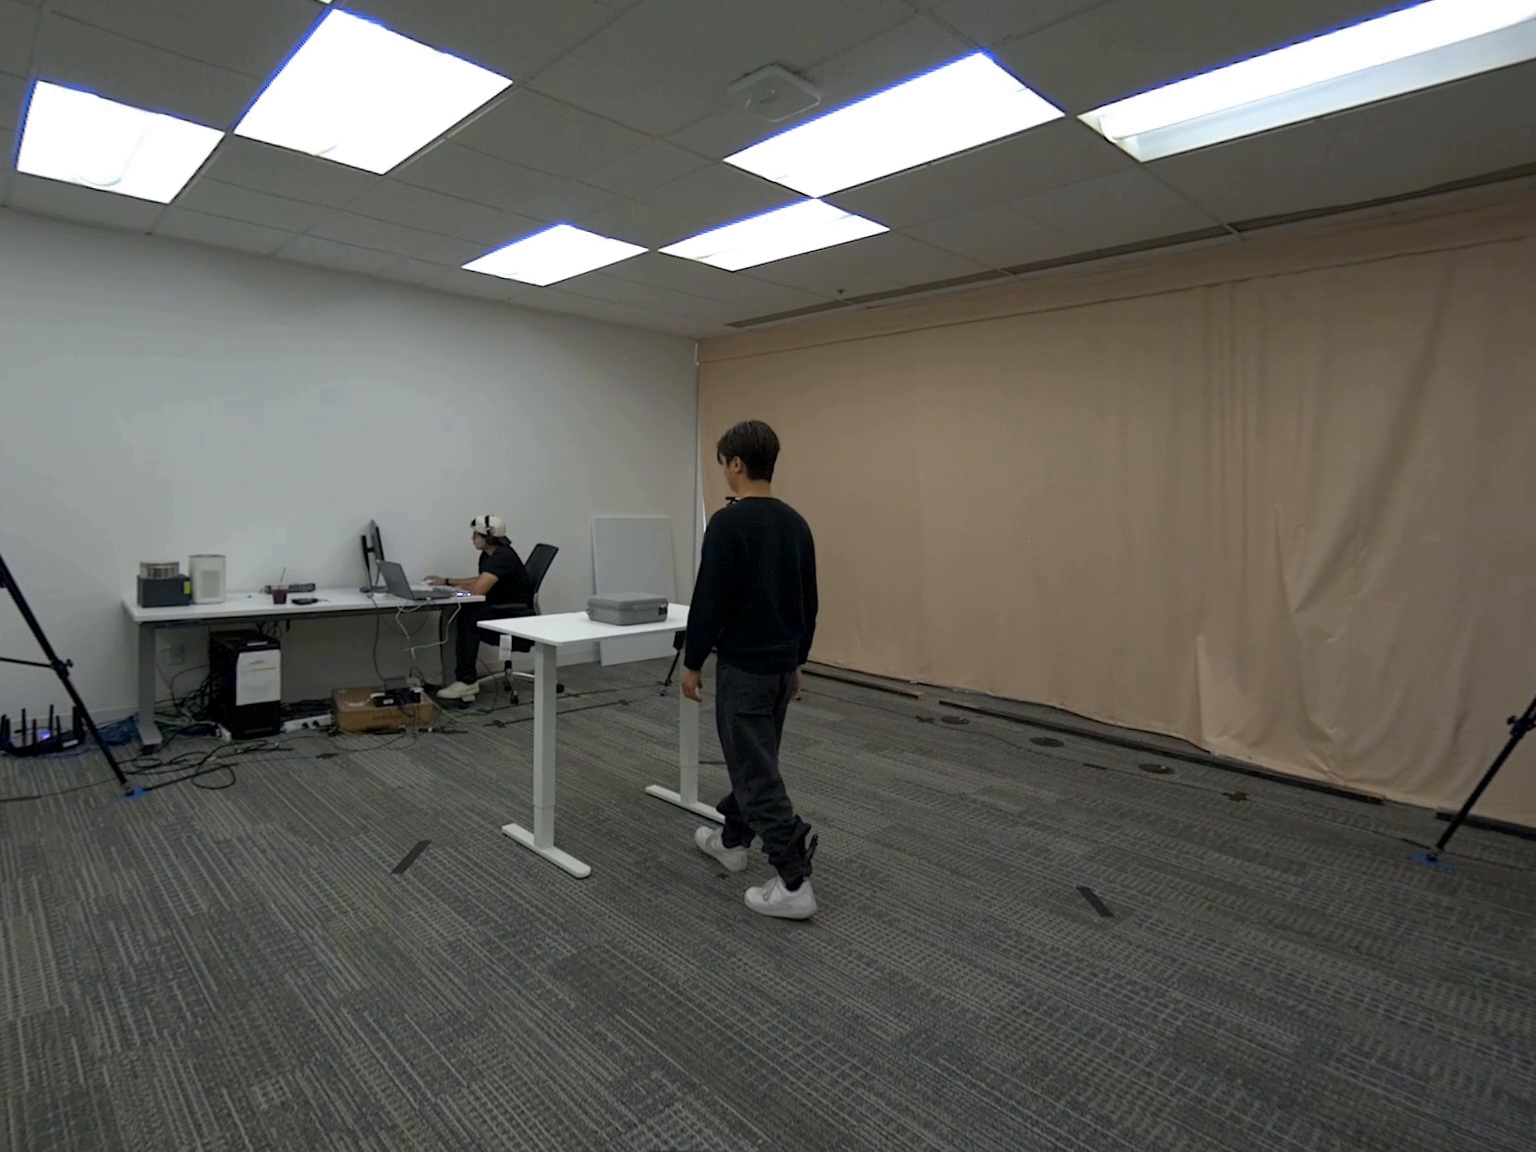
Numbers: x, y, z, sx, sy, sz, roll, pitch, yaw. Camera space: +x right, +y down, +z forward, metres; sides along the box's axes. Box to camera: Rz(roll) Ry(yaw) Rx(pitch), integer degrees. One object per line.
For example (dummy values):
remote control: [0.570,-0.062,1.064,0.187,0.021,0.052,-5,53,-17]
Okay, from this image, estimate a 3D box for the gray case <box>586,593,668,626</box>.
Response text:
gray case: [-0.588,0.132,3.454,0.267,0.104,0.251,4,7,45]
